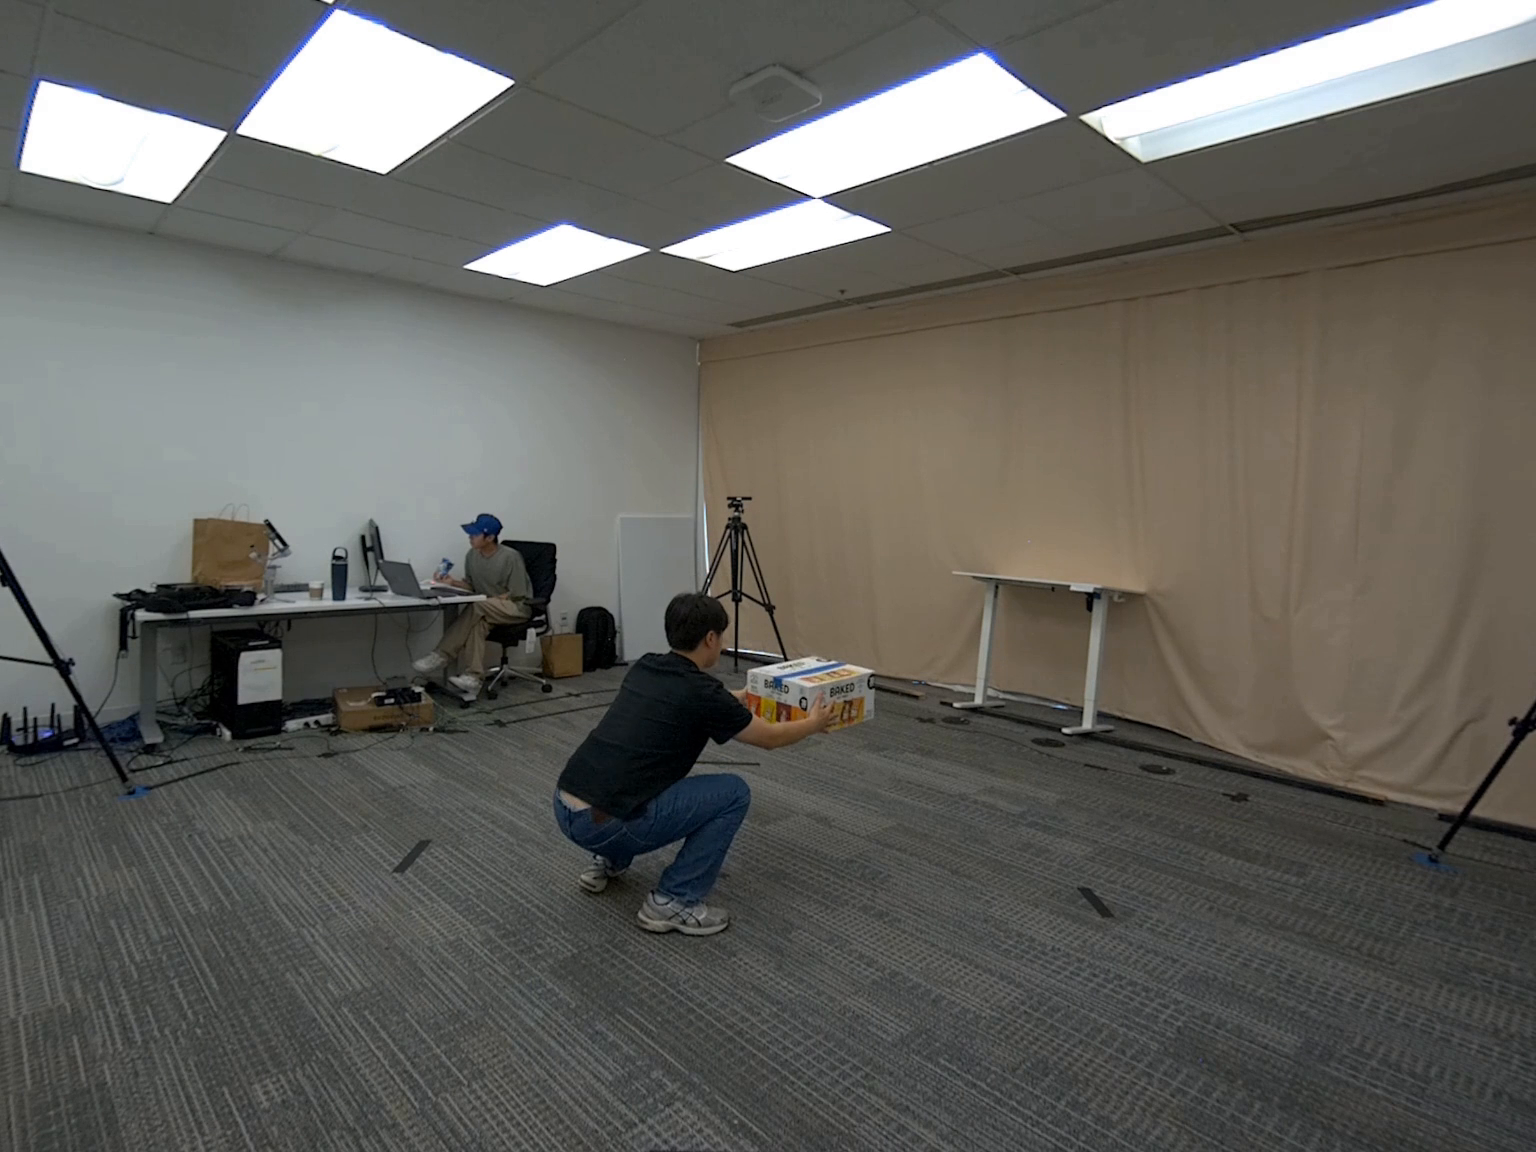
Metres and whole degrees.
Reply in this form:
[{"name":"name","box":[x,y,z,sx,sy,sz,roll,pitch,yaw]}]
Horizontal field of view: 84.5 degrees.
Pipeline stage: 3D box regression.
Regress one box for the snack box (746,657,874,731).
[{"name":"snack box","box":[0.170,0.481,3.434,0.396,0.205,0.349,-5,9,-44]}]
